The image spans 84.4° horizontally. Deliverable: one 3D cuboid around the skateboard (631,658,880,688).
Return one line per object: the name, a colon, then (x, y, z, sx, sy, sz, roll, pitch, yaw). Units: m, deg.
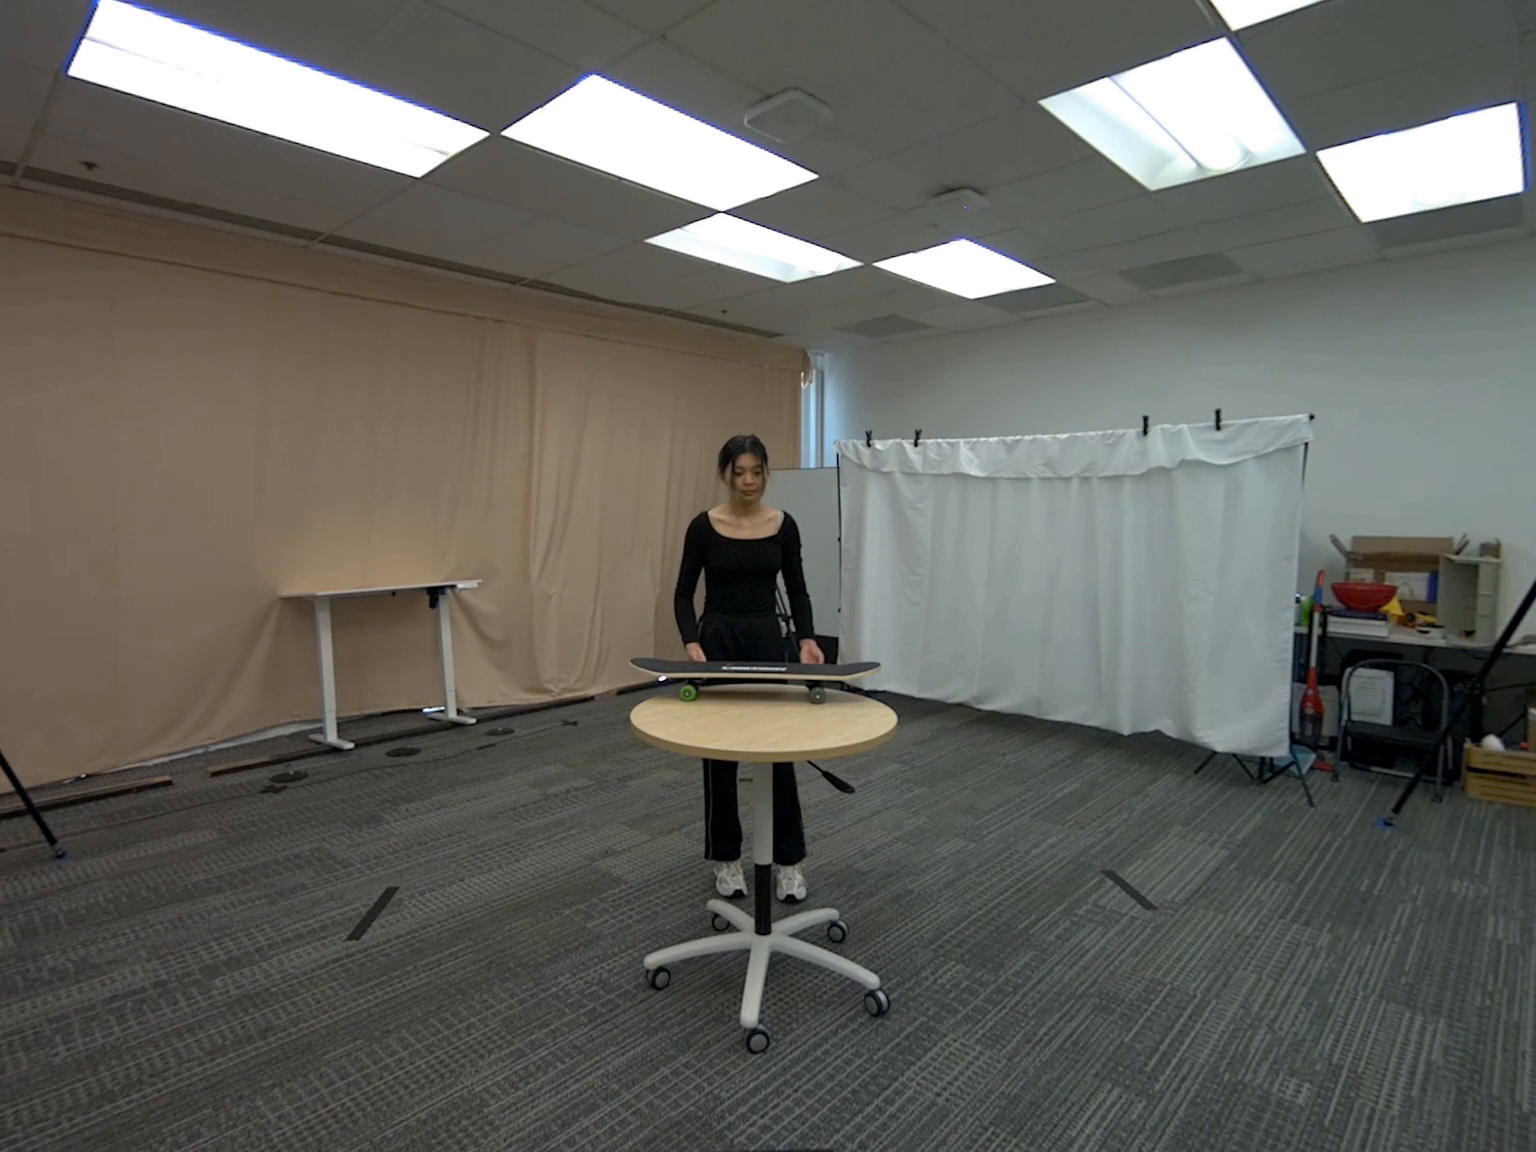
skateboard: (-0.049, 0.327, 2.649, 0.790, 0.110, 0.193, 0, 5, 6)
